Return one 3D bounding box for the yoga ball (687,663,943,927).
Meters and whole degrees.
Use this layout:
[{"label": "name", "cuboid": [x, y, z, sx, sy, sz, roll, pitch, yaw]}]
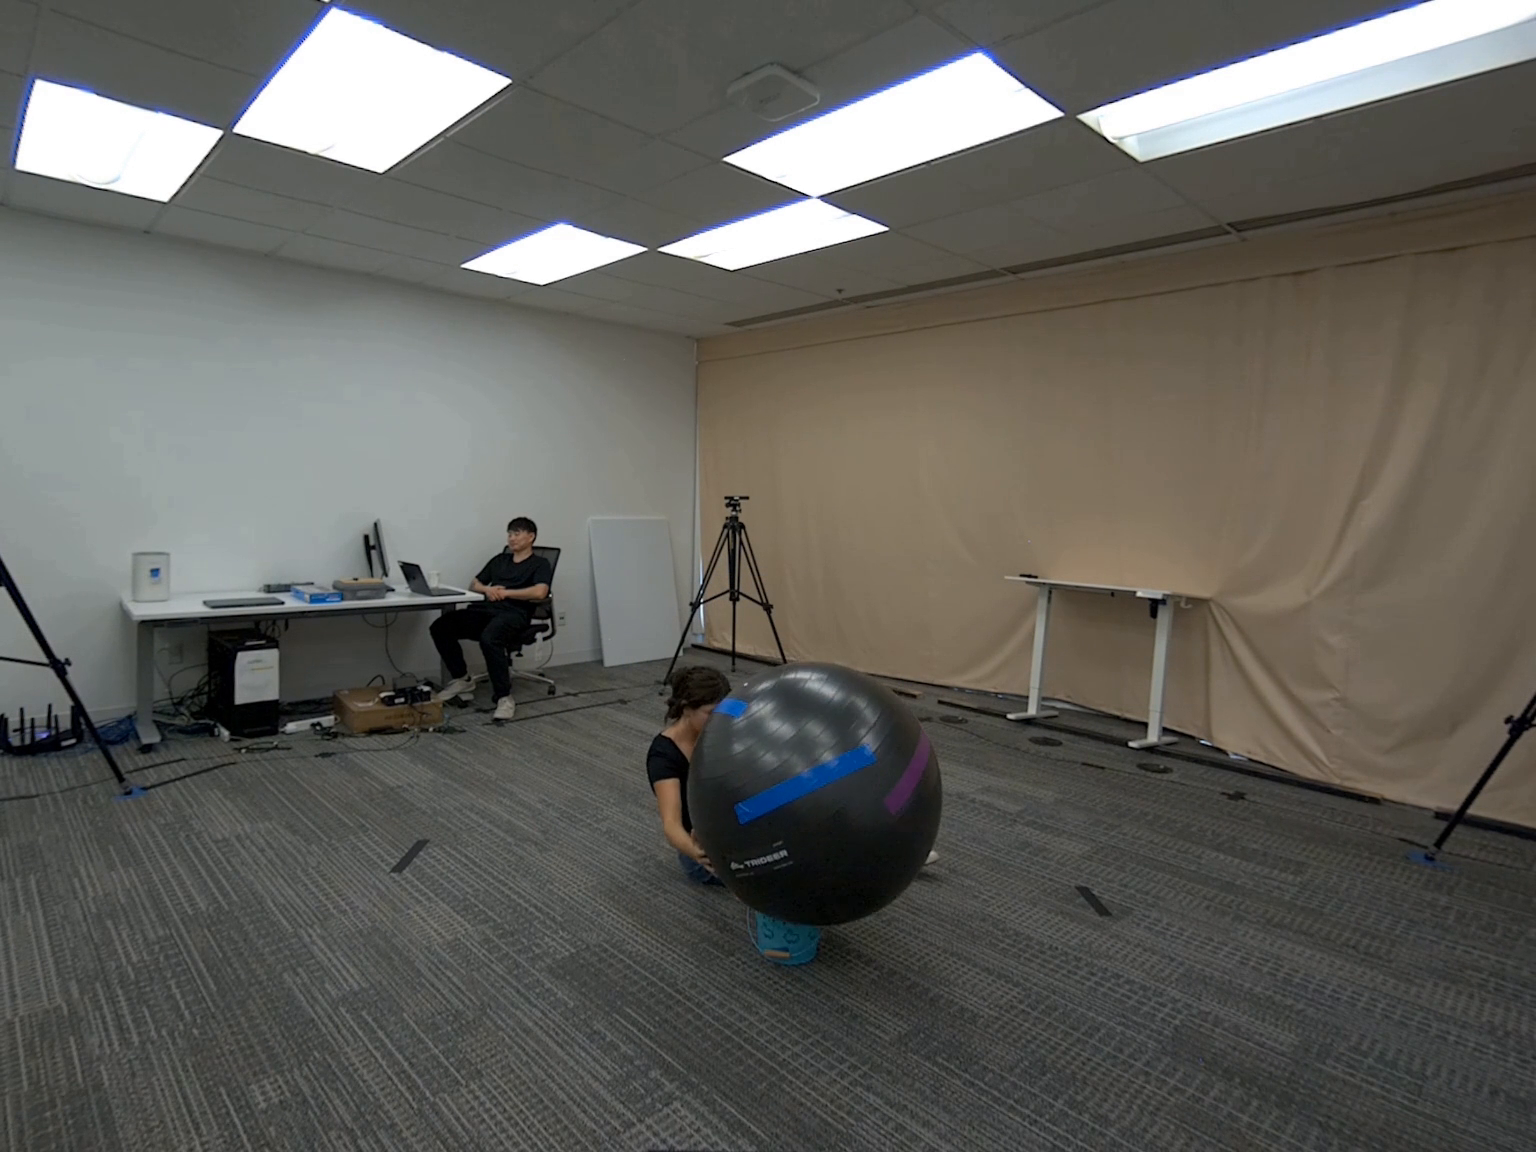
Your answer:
[{"label": "yoga ball", "cuboid": [0.133, 0.632, 2.528, 0.757, 0.756, 0.761, 1, 4, -1]}]
